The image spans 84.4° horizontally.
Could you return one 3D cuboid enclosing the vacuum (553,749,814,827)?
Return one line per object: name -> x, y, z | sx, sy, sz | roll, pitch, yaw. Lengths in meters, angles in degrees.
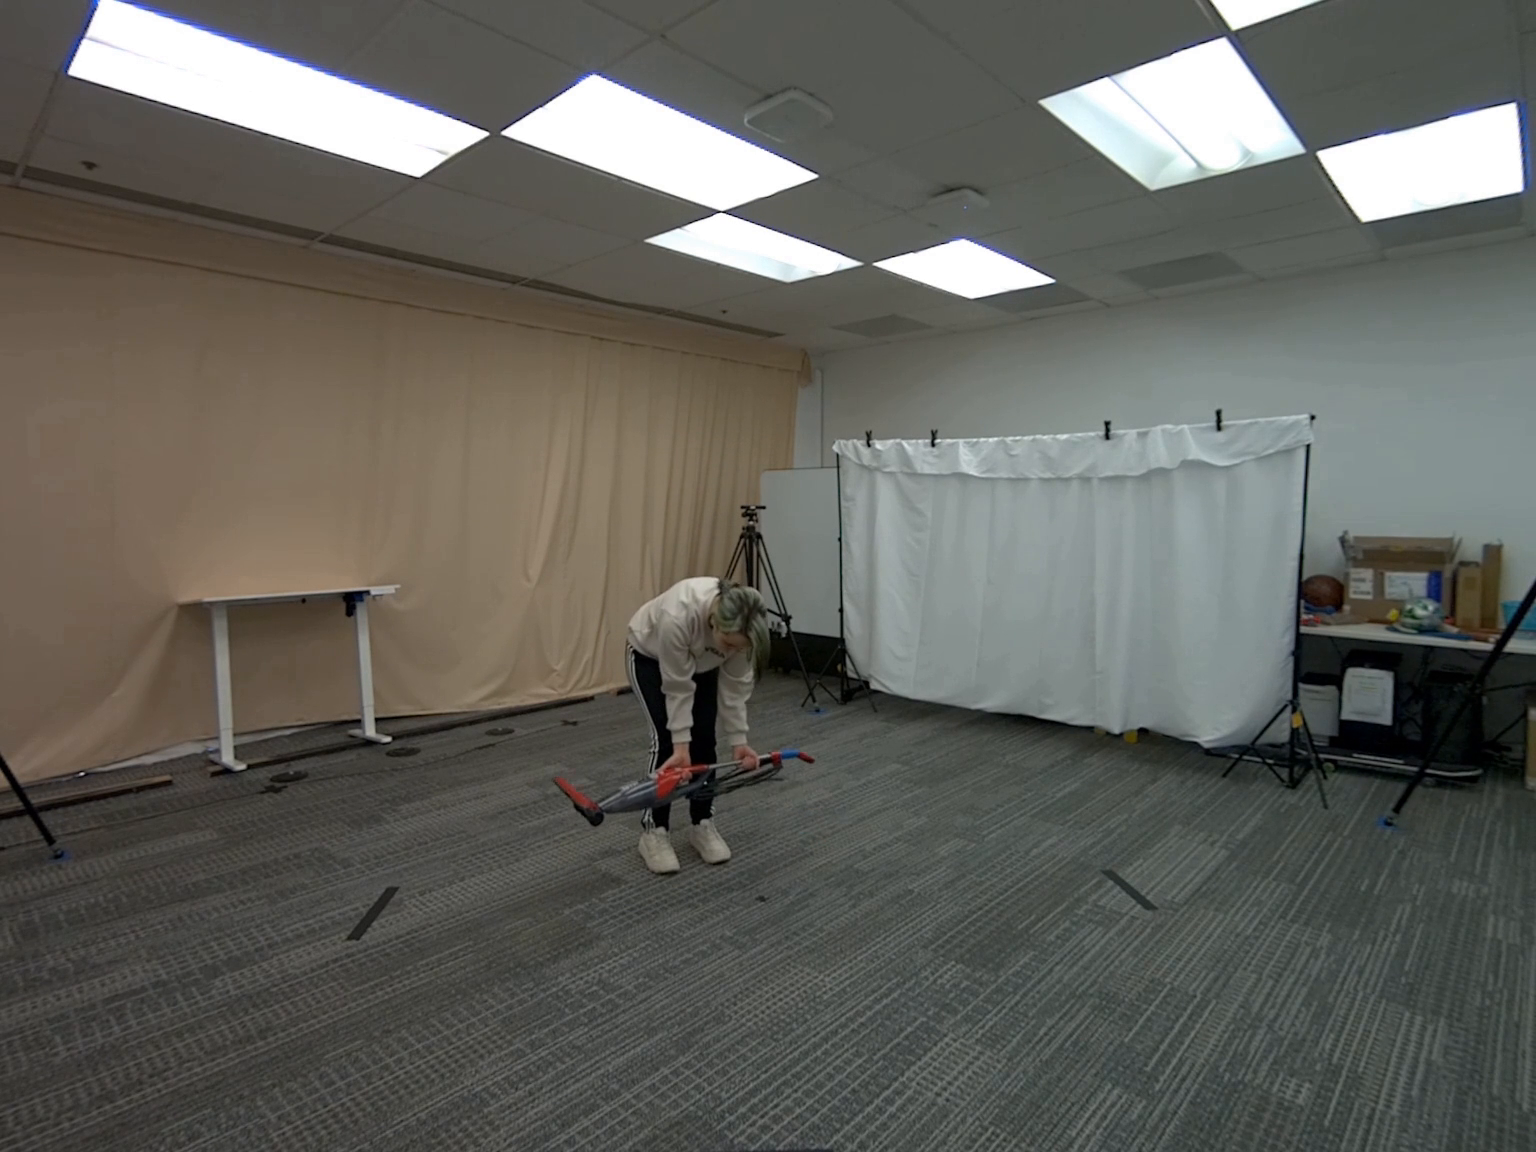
vacuum -> -0.235, 0.770, 3.130 | 1.018, 0.143, 0.261 | -1, 7, -35
